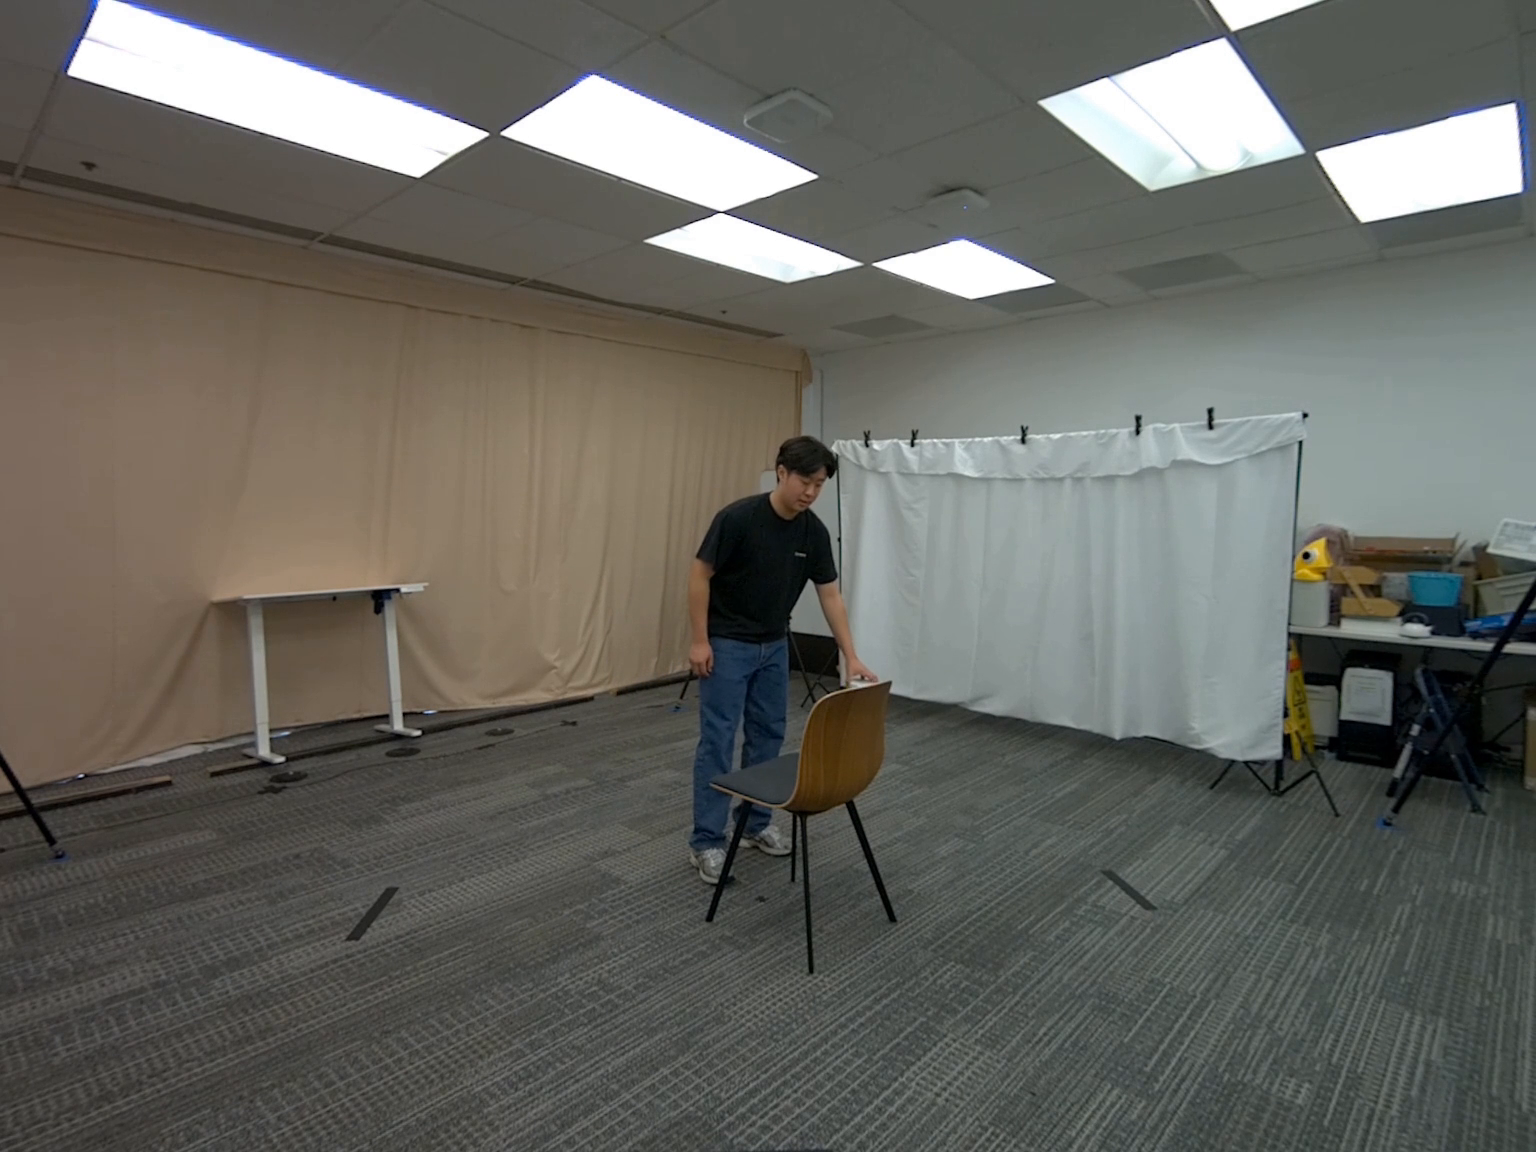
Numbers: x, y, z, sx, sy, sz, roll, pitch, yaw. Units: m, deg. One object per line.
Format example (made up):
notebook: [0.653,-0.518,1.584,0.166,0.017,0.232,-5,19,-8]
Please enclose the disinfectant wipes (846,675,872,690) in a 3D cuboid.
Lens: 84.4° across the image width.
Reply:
disinfectant wipes: [0.369,0.519,3.310,0.117,0.216,0.118,2,7,-2]
